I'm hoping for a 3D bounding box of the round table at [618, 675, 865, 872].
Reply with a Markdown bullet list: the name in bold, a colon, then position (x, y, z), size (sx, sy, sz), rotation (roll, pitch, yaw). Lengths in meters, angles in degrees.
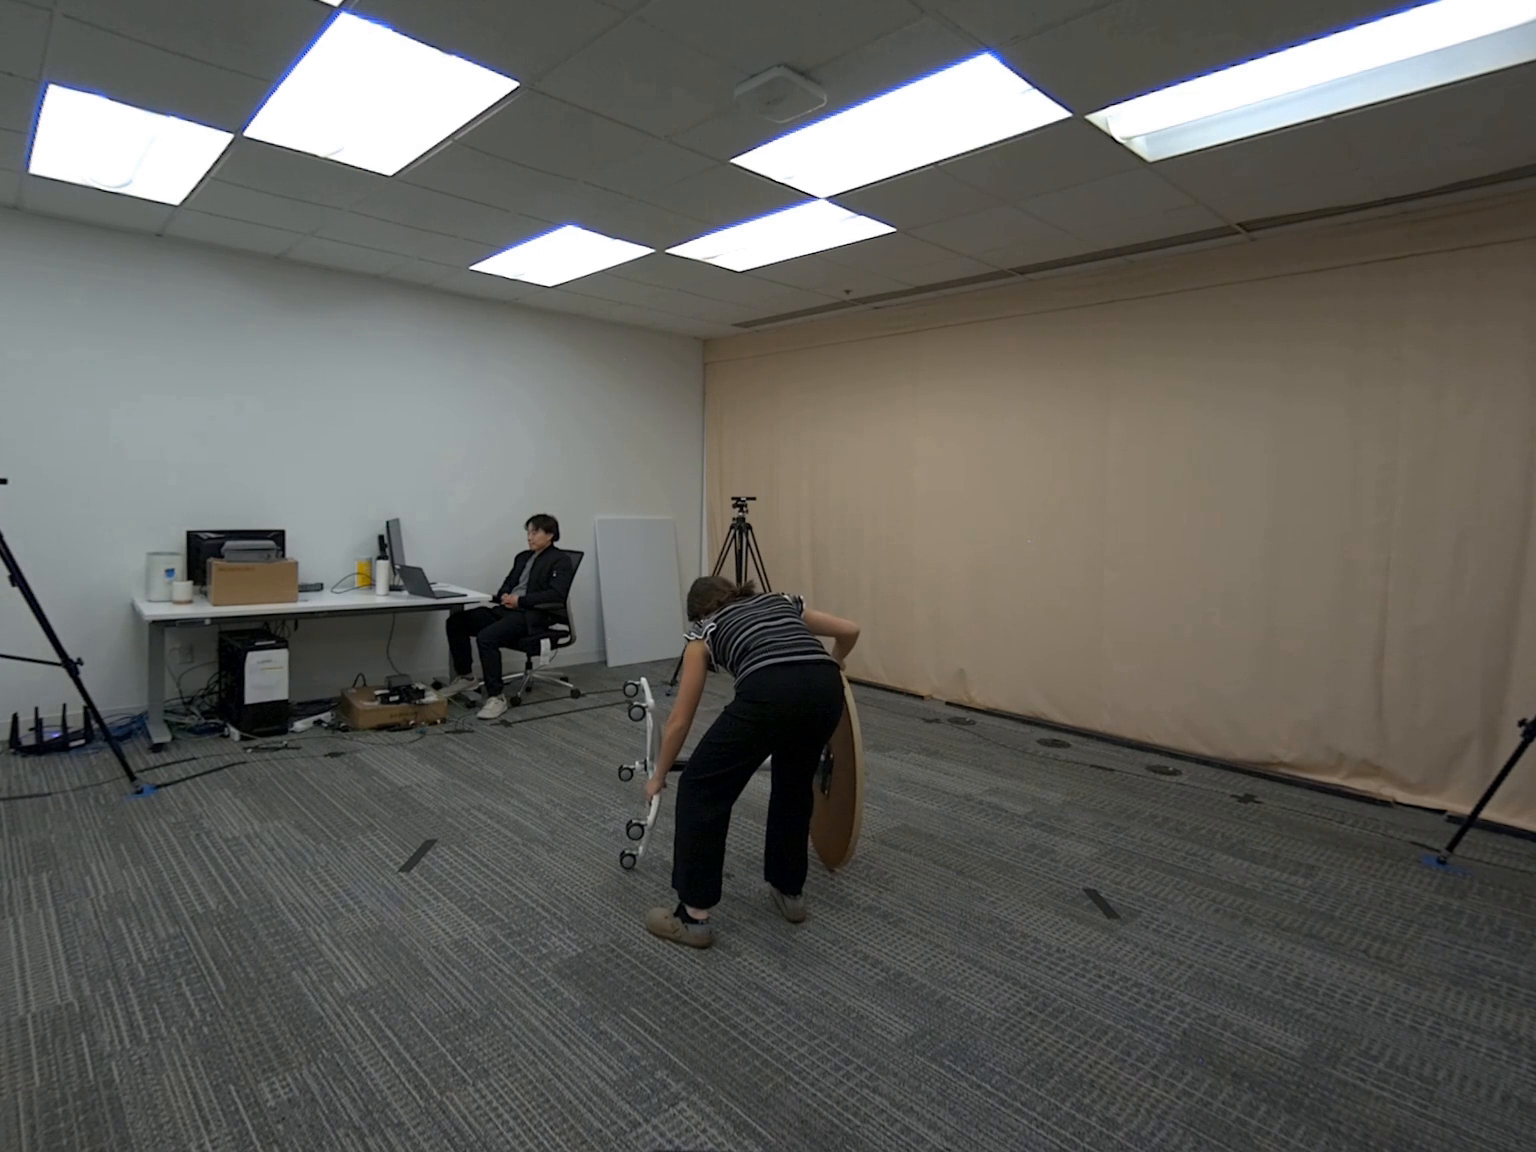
- **round table**: position (-0.158, 0.719, 3.191), size (0.787, 0.762, 0.772), rotation (1, 4, -11)
